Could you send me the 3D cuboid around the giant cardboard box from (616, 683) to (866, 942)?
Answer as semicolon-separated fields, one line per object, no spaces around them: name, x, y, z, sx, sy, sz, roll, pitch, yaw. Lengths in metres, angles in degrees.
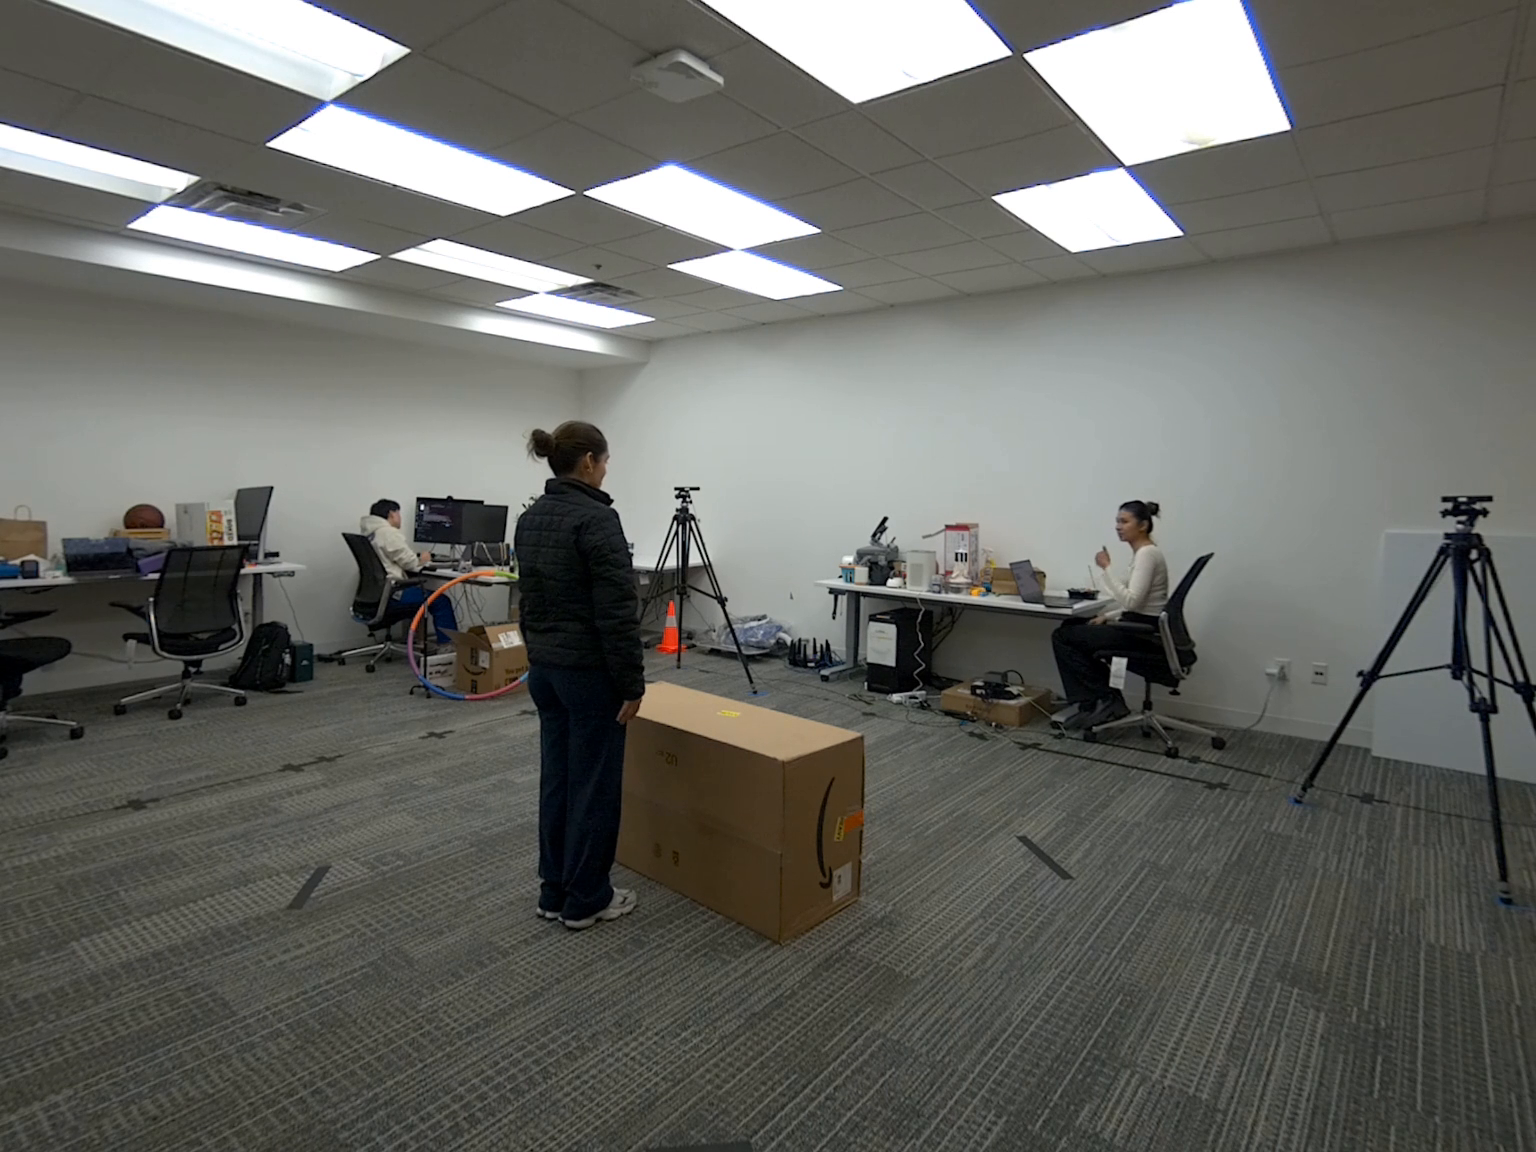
giant cardboard box;-0.184;0.781;3.092;1.062;0.582;0.433;6;5;43
